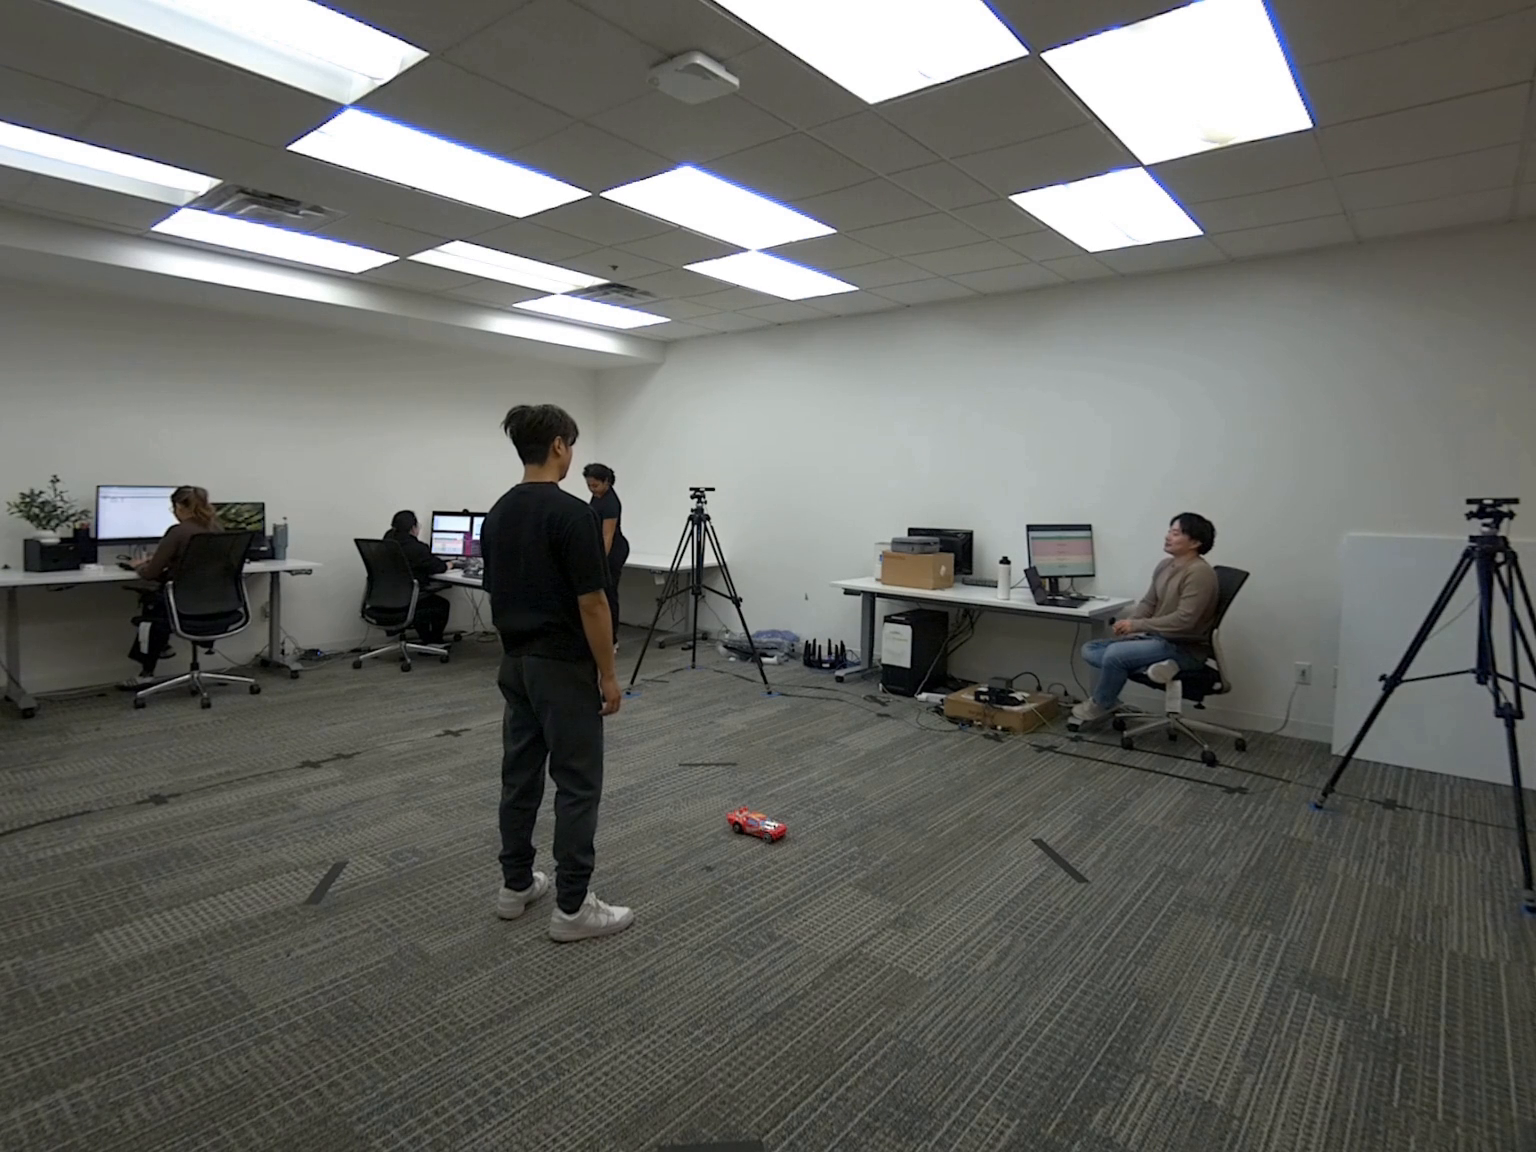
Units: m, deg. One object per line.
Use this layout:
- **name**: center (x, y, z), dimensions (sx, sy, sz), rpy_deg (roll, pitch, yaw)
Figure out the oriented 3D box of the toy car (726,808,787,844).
- **toy car**: center (-0.062, 1.005, 3.444), dimensions (0.264, 0.082, 0.127), rpy_deg (18, 14, 34)
